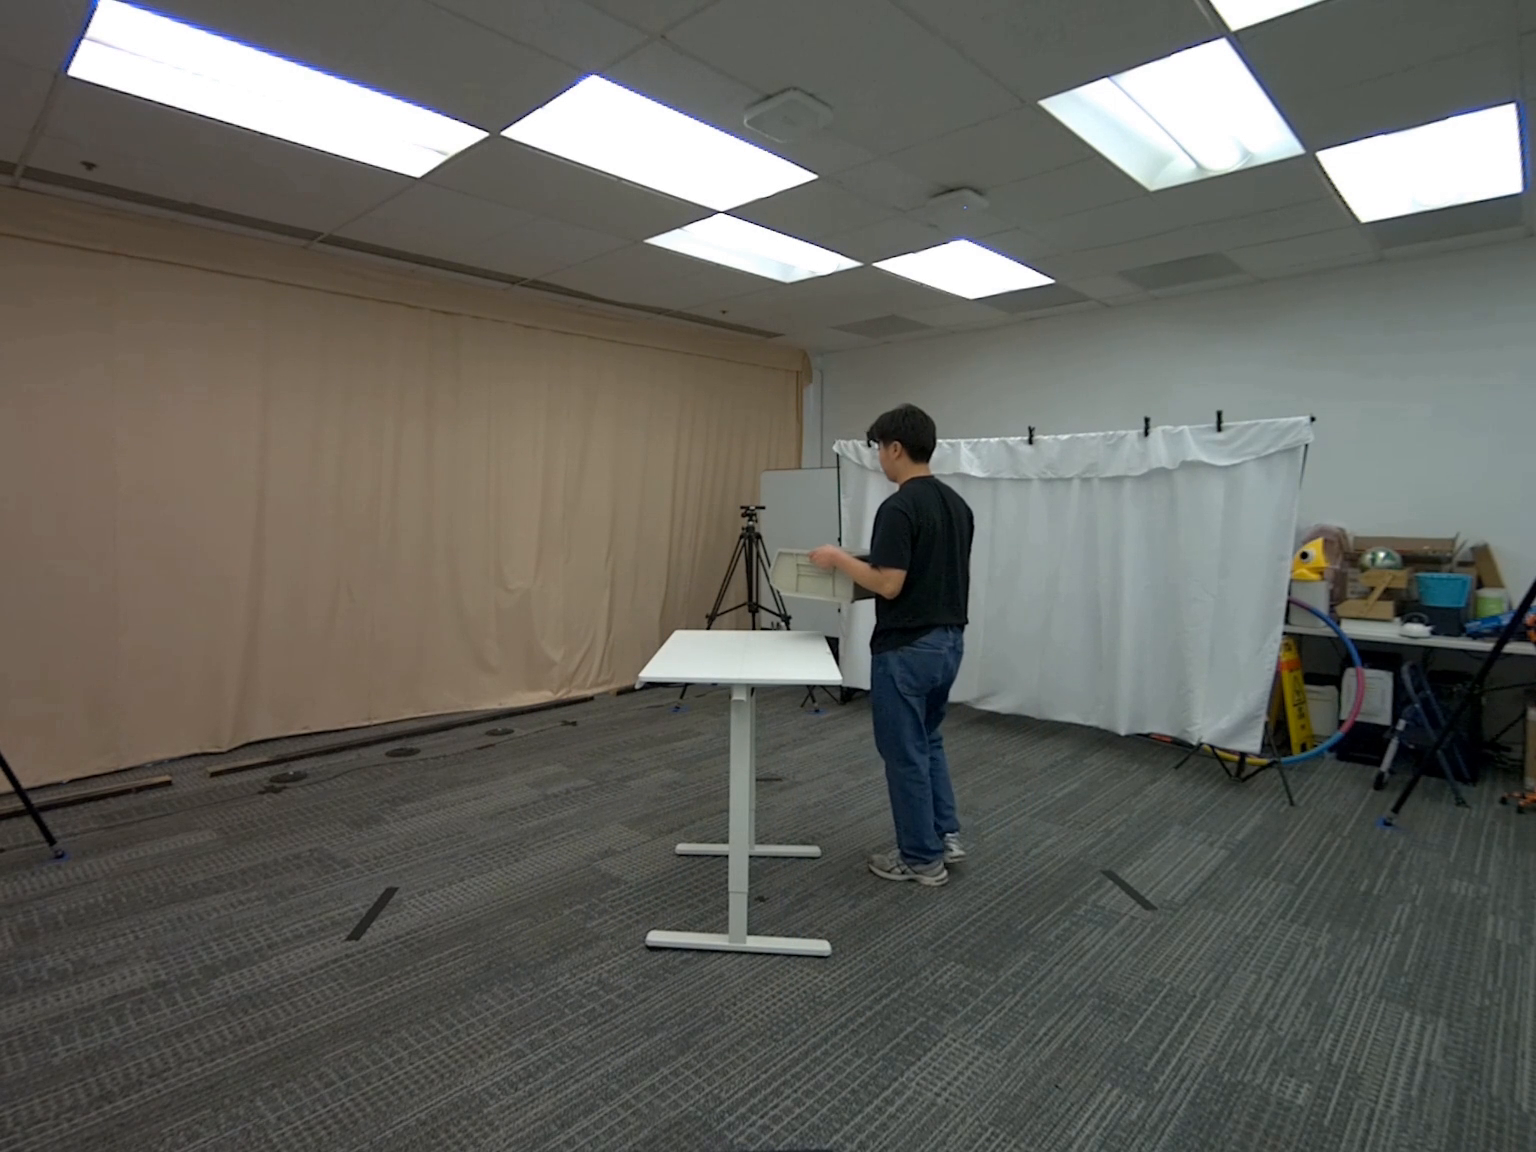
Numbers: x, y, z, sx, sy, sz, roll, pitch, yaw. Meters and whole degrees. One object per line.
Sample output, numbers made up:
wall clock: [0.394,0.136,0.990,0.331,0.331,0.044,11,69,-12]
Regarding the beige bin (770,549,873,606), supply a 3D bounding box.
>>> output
beige bin: [0.278,-0.005,3.331,0.390,0.188,0.410,7,6,36]
